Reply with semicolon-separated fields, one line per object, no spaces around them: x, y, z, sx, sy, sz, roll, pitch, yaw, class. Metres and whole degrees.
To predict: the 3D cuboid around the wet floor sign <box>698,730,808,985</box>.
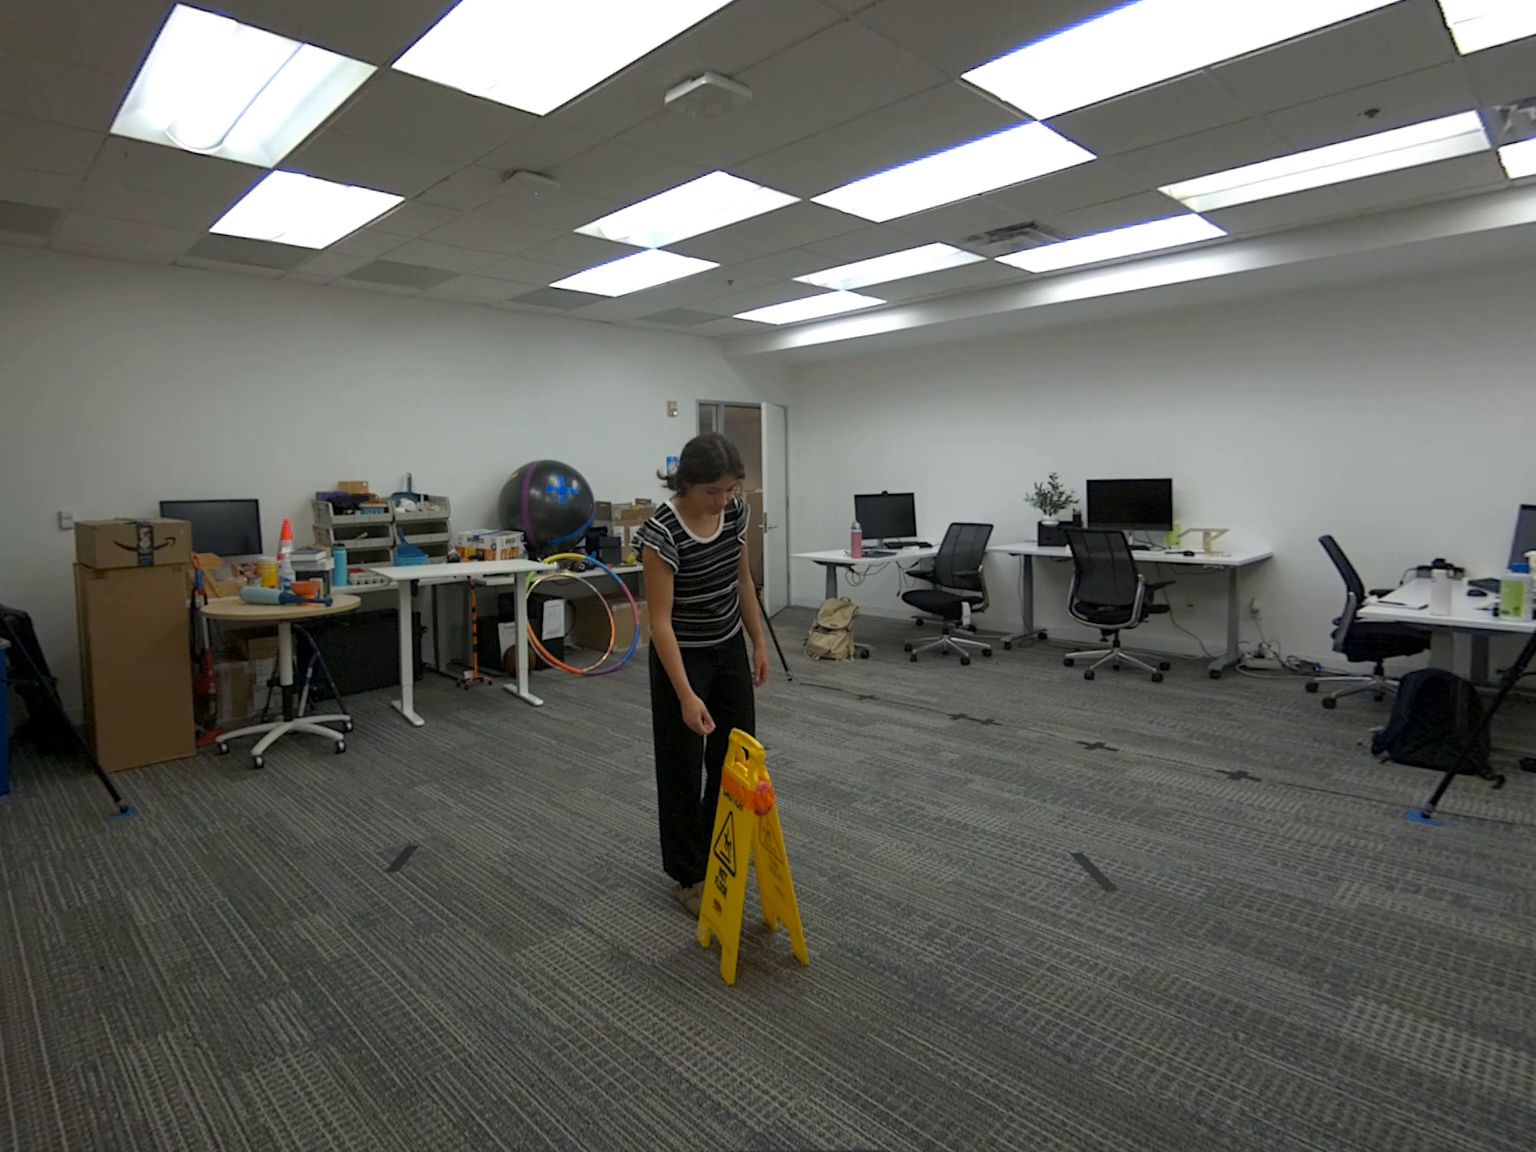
-0.055;0.793;2.500;0.284;0.643;0.289;-3;5;-22;wet floor sign
